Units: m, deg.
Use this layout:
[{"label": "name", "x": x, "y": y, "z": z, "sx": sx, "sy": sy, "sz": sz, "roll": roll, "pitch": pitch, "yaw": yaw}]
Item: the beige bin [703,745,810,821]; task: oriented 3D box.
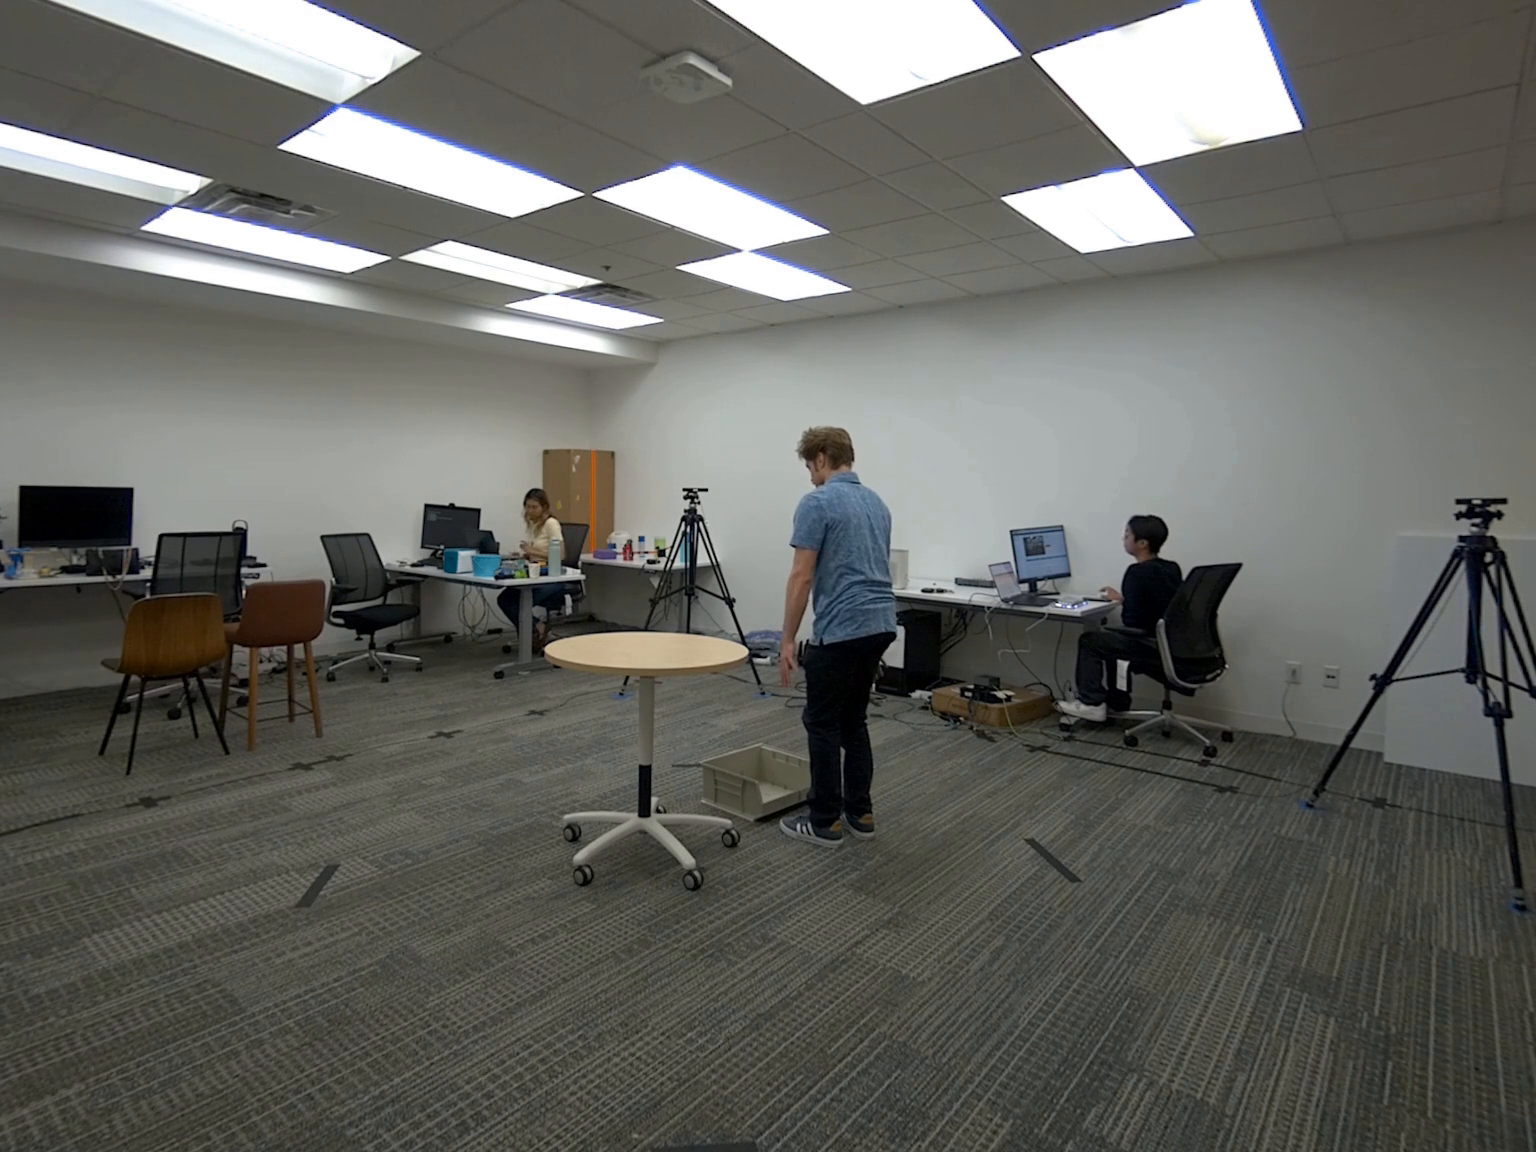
[{"label": "beige bin", "x": -0.040, "y": 0.920, "z": 3.802, "sx": 0.390, "sy": 0.188, "sz": 0.410, "roll": 5, "pitch": 7, "yaw": 42}]
